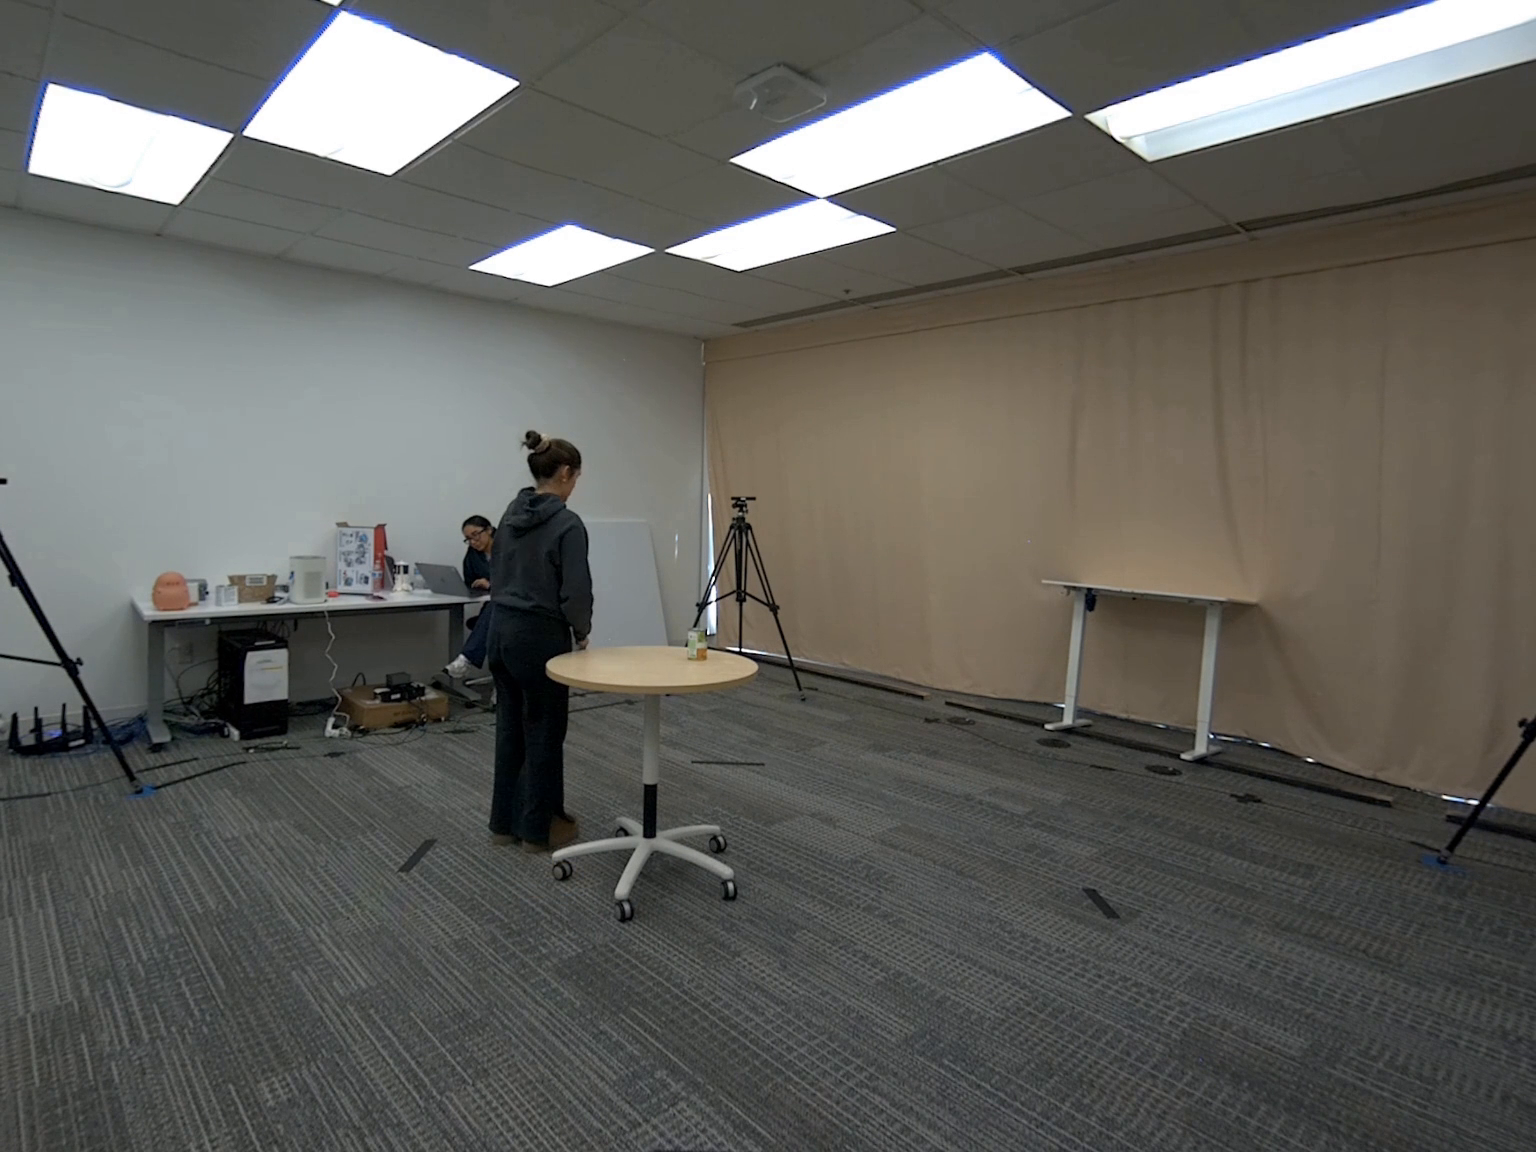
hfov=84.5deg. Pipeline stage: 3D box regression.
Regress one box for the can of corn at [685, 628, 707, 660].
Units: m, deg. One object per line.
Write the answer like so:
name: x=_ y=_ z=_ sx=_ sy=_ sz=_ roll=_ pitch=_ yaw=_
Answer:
can of corn: x=-0.274 y=0.254 z=3.181 sx=0.074 sy=0.111 sz=0.074 roll=3 pitch=3 yaw=-2
